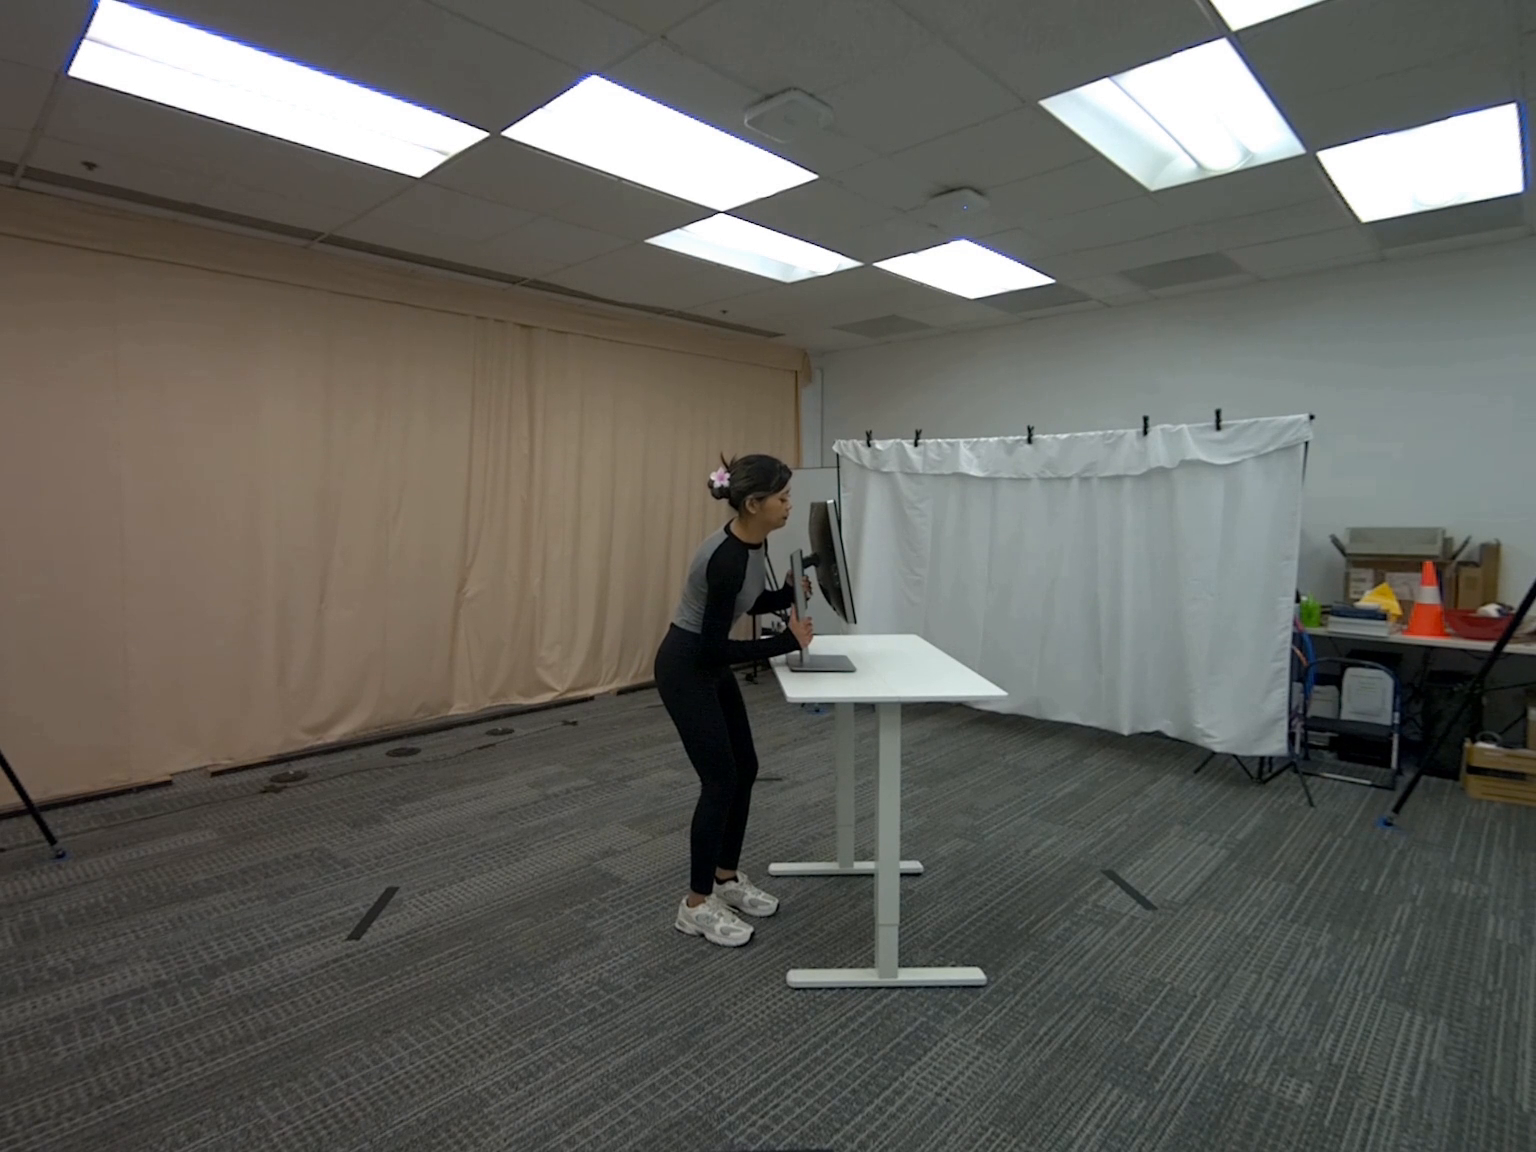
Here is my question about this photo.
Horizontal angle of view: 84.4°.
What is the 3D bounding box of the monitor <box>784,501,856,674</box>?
[{"bbox_3d":[0.166,0.028,2.682,0.187,0.521,0.541,1,4,-3],"label":"monitor"}]
